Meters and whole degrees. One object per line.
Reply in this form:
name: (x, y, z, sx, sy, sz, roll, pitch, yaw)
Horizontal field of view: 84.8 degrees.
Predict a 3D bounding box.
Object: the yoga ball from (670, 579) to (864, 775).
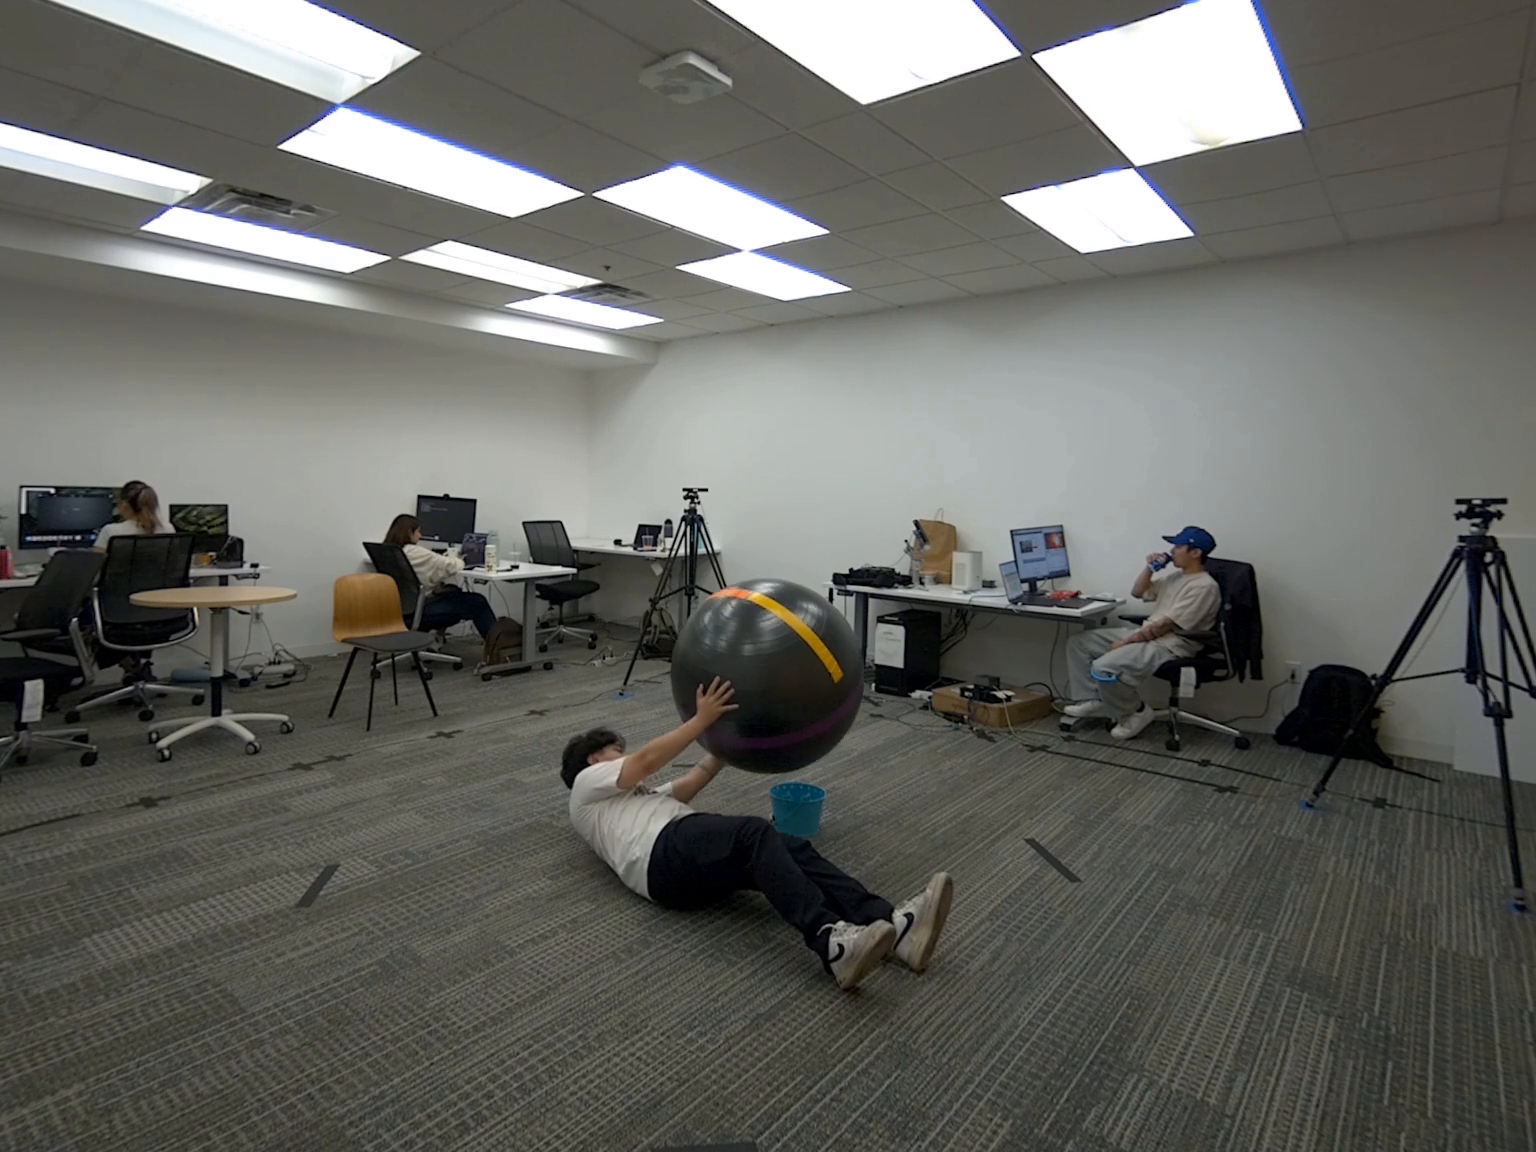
yoga ball: (-0.013, 0.380, 3.352, 0.757, 0.756, 0.761, 1, 4, -2)
